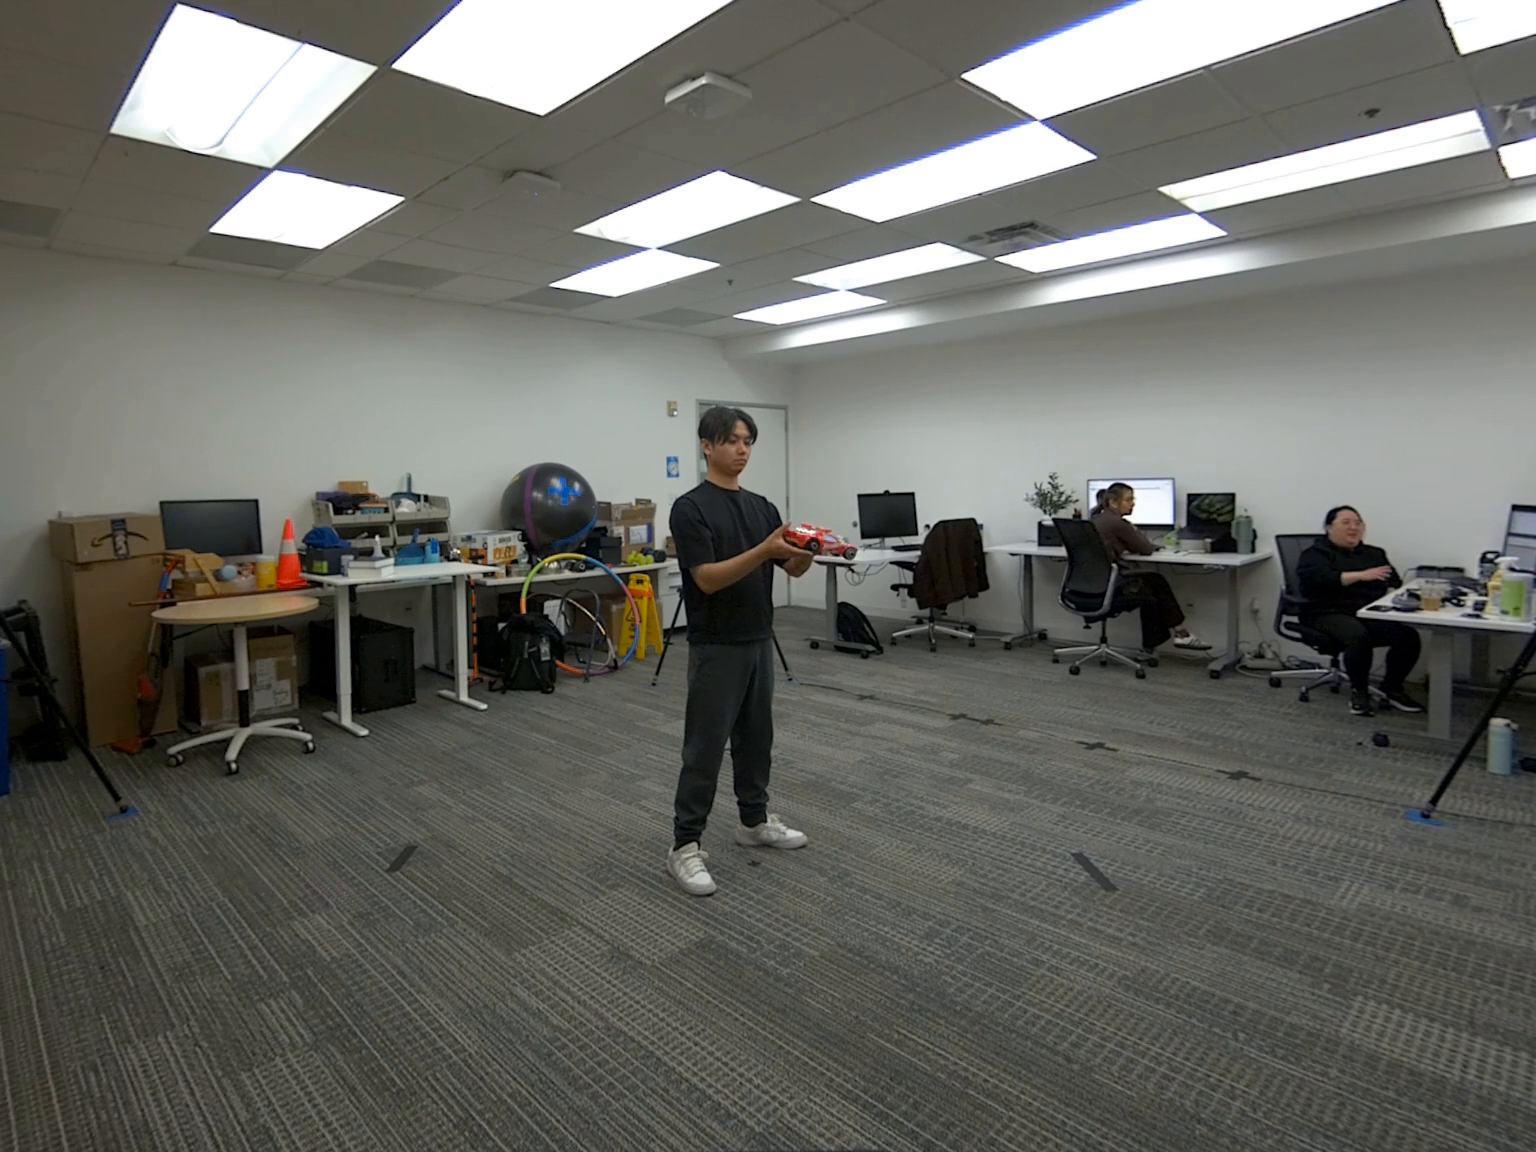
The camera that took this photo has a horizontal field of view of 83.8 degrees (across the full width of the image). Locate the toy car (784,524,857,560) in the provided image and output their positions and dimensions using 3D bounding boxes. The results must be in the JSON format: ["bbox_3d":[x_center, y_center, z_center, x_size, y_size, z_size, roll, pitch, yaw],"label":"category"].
[{"bbox_3d":[0.171,-0.110,2.818,0.247,0.083,0.134,23,-3,-27],"label":"toy car"}]
